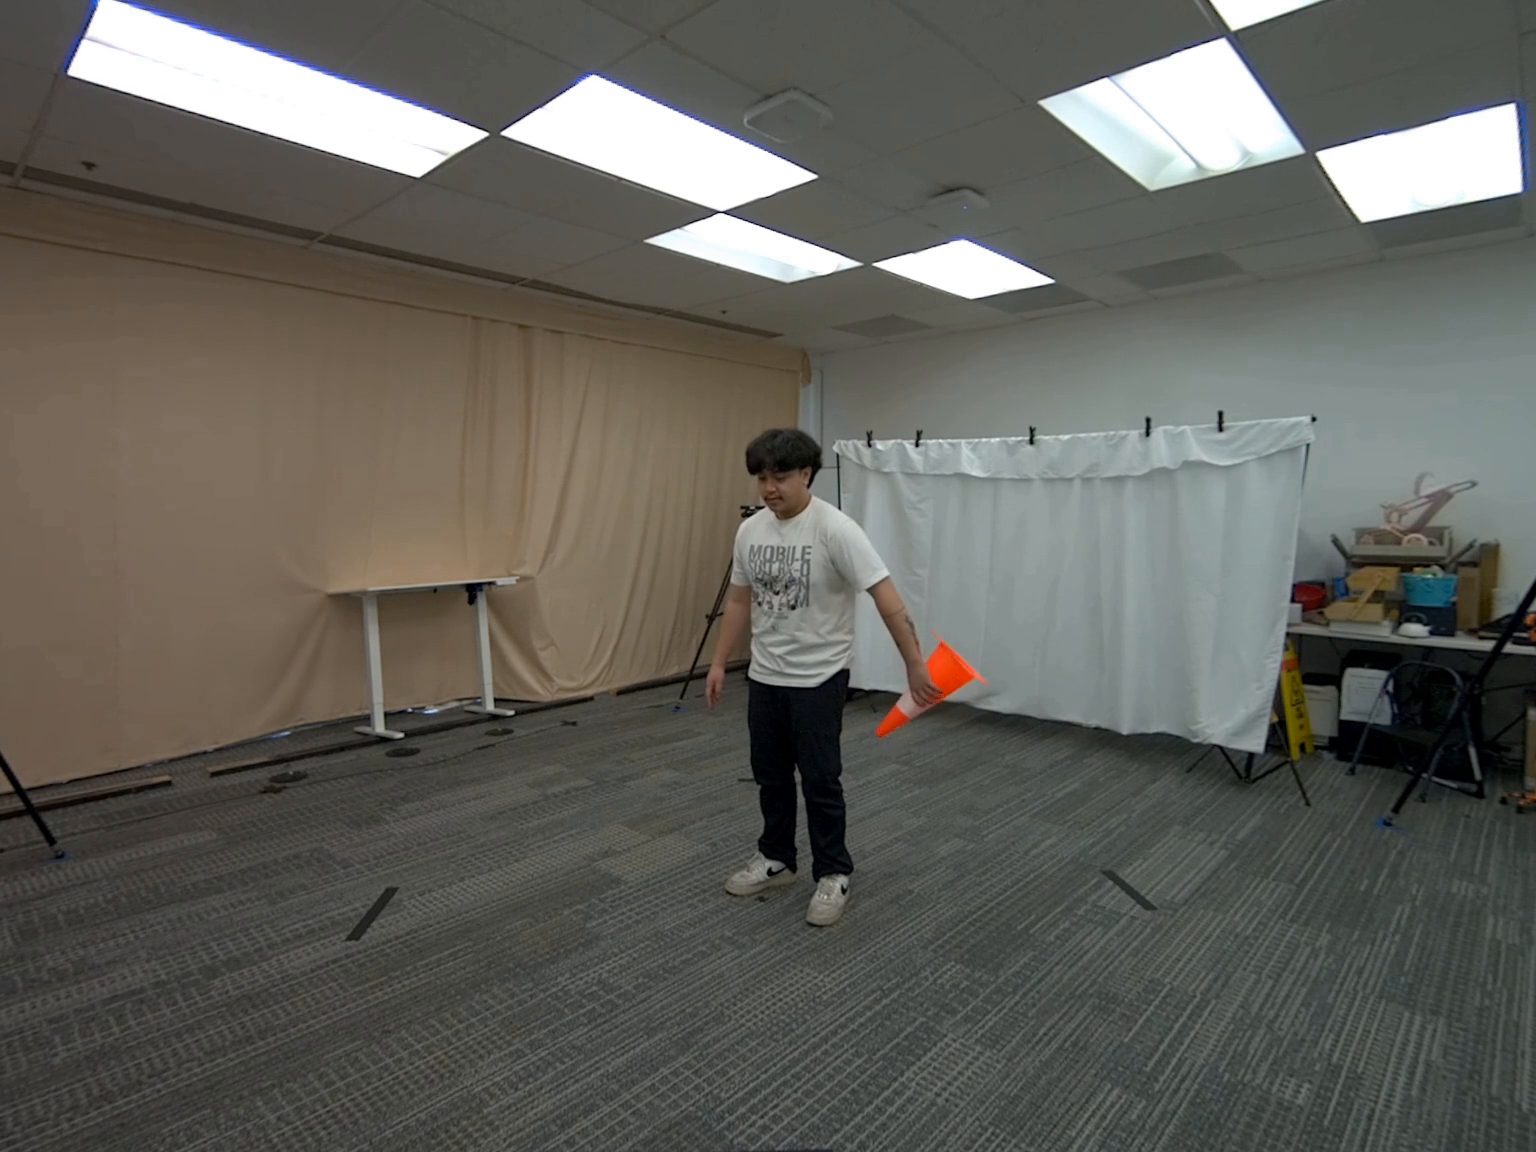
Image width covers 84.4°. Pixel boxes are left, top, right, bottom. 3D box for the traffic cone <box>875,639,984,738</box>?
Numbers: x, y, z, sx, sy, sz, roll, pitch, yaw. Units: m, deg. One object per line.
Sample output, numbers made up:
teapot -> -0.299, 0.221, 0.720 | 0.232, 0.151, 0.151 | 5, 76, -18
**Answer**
traffic cone -> 0.499, 0.416, 2.810 | 0.197, 0.385, 0.210 | 31, 19, -50
